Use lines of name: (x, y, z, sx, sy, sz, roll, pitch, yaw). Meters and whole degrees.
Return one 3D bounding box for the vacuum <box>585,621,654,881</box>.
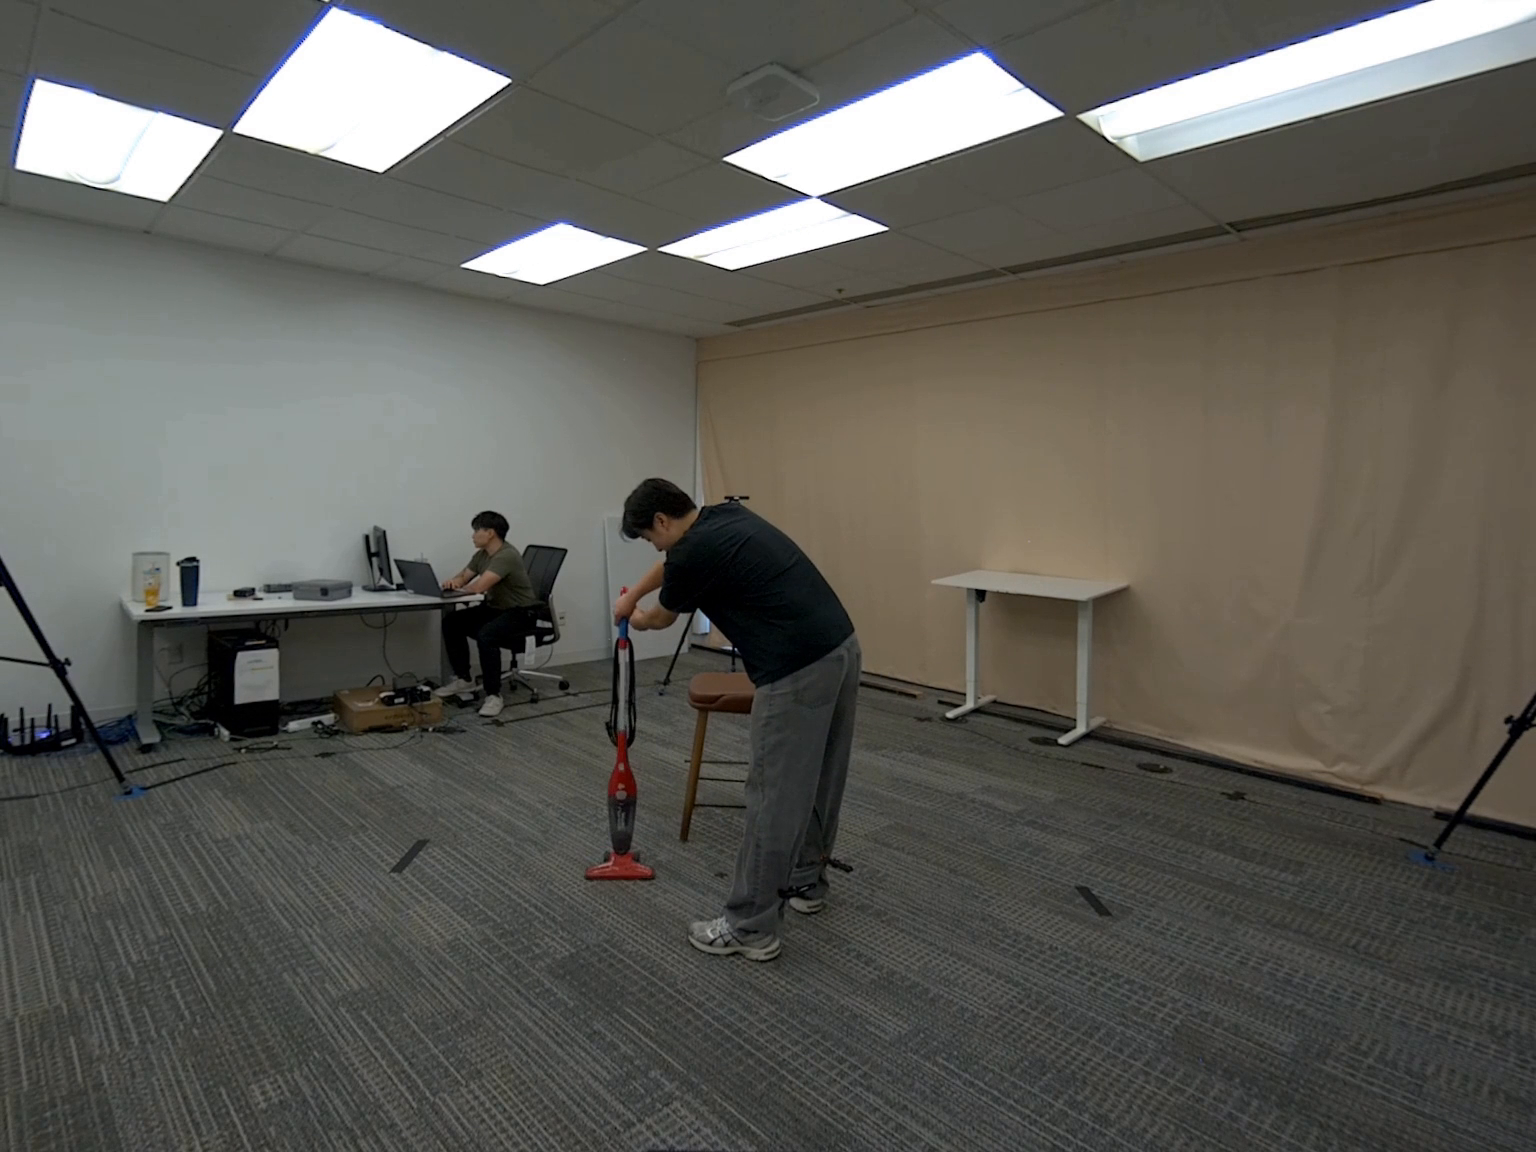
vacuum: (-0.554, 0.574, 3.191, 0.252, 1.057, 0.143, 0, -10, -3)
